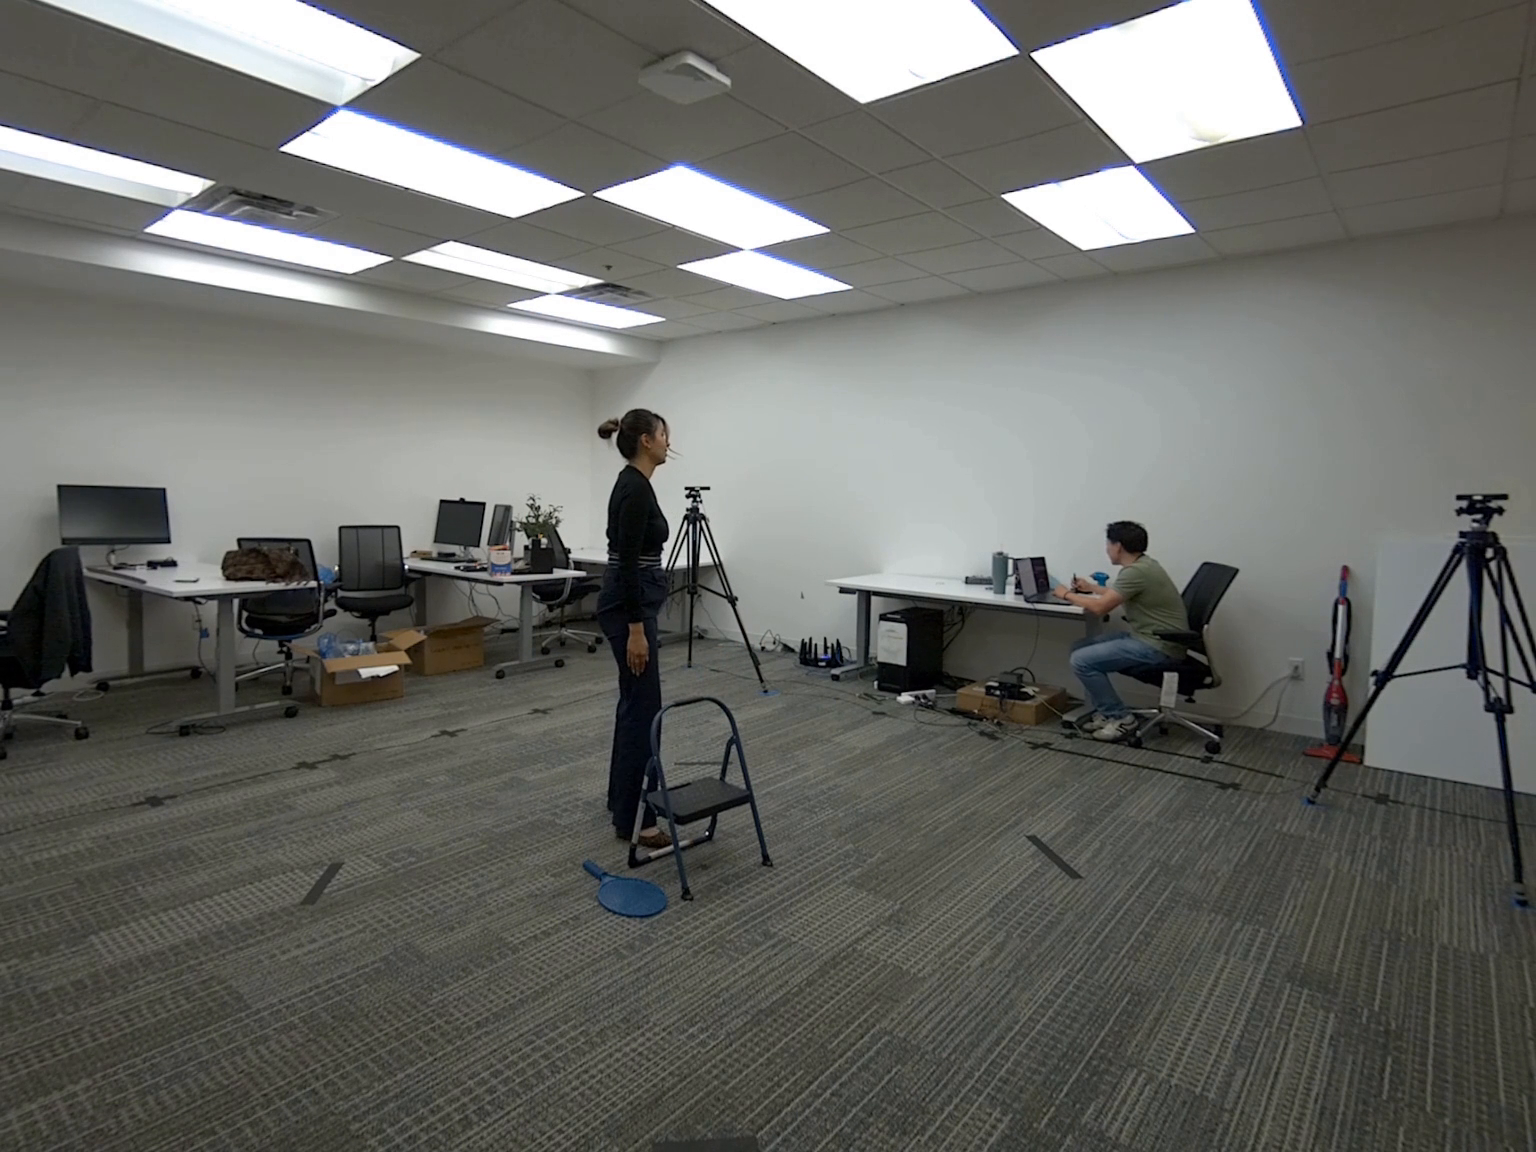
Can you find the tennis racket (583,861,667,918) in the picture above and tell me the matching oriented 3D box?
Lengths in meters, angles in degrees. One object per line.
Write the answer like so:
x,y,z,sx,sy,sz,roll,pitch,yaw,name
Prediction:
-0.517,1.061,2.924,0.207,0.031,0.448,-5,9,-43,tennis racket
